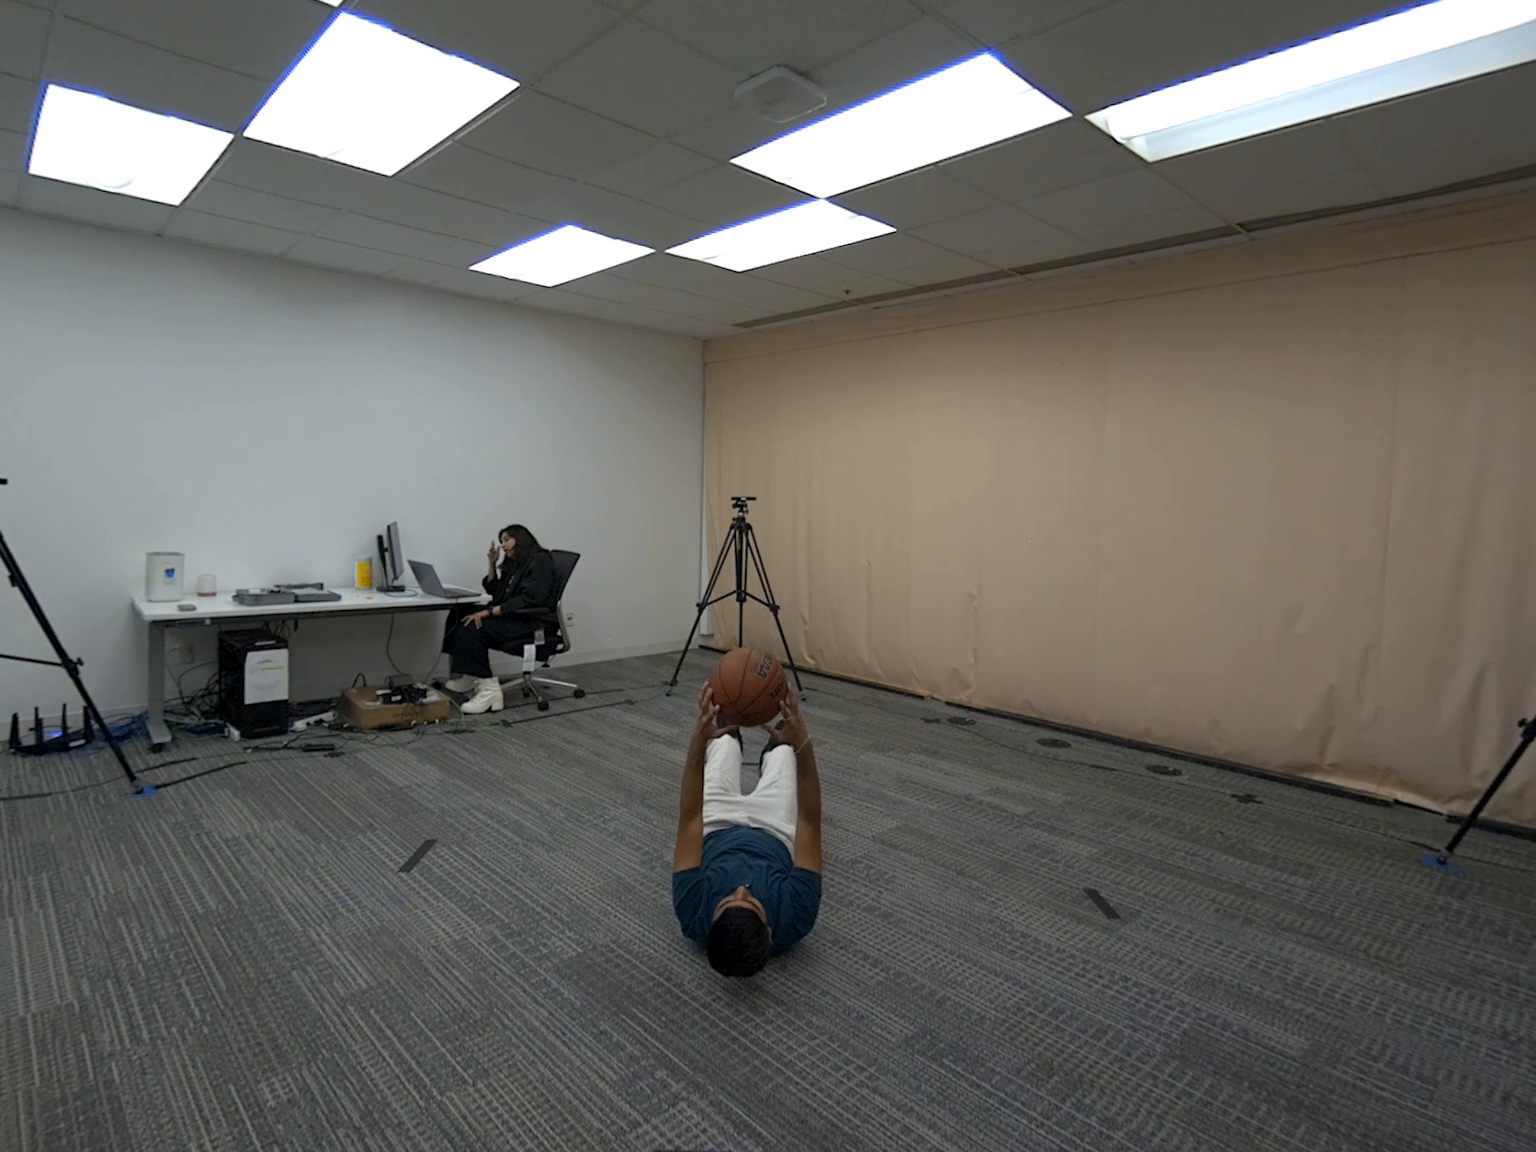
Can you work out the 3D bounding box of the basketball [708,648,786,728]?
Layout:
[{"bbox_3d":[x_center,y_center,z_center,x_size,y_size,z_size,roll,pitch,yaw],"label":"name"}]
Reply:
[{"bbox_3d":[-0.062,0.334,2.534,0.236,0.235,0.237,1,4,-1],"label":"basketball"}]
